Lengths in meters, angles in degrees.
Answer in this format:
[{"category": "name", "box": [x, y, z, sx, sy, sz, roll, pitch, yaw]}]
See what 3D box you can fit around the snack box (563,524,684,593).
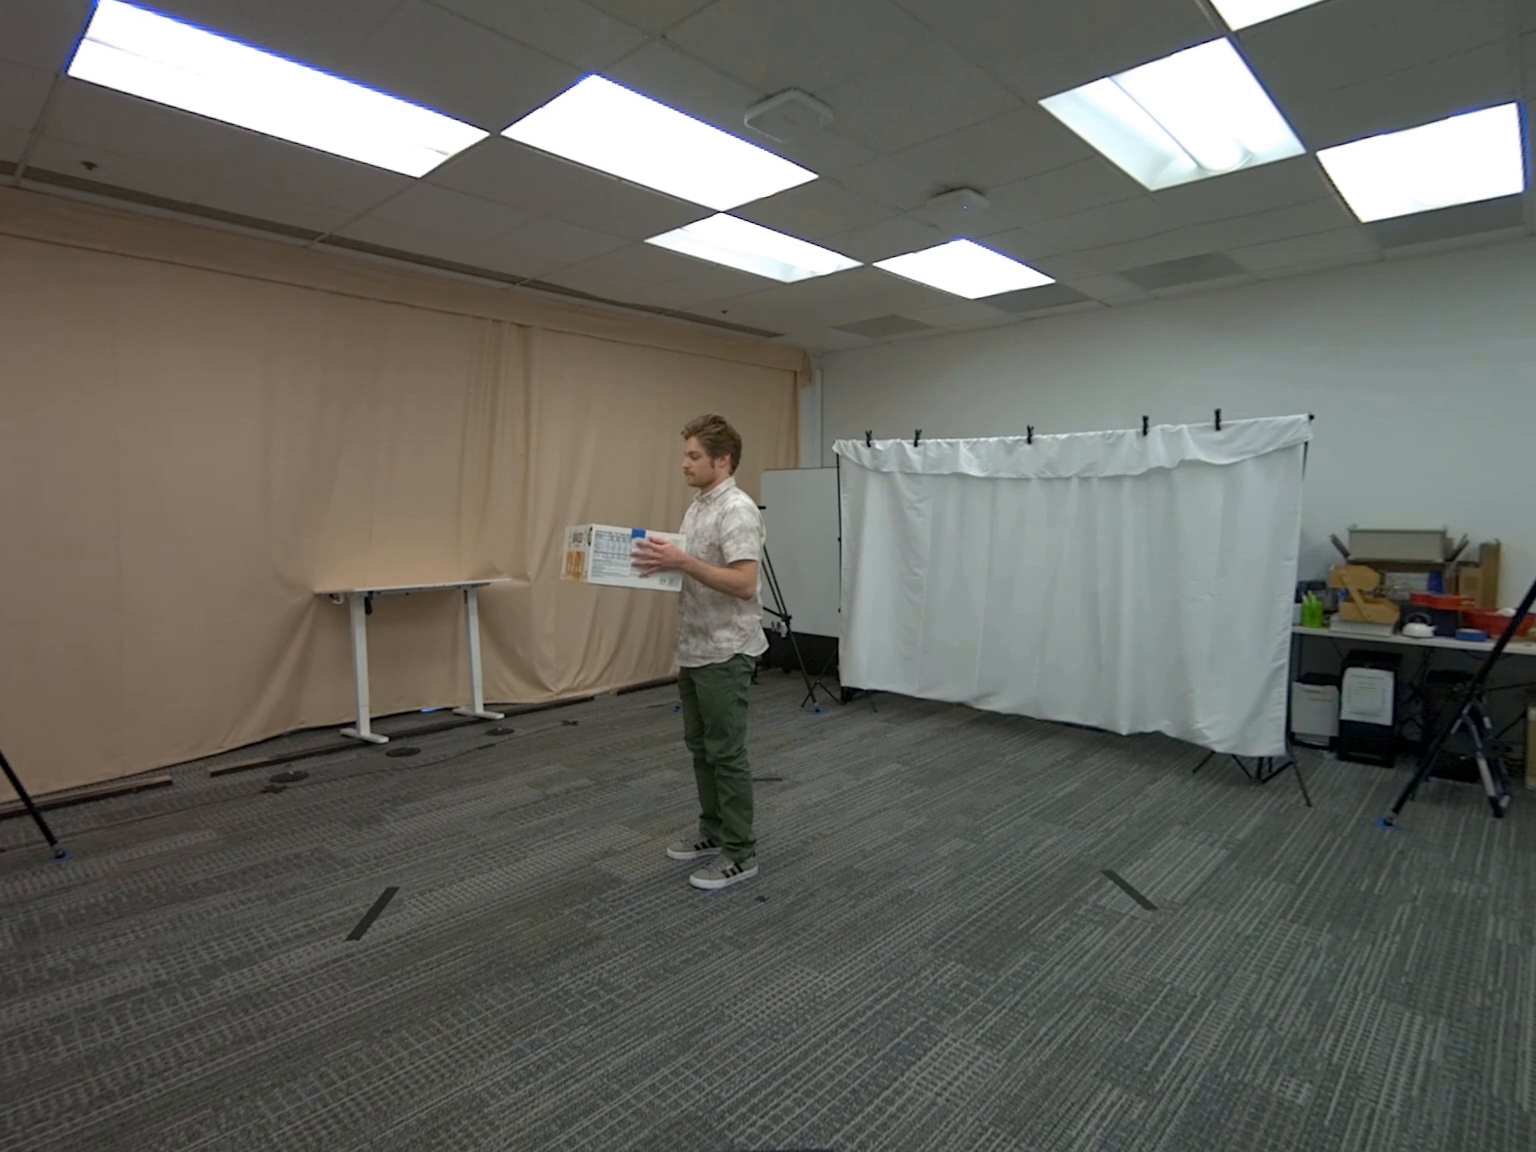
[{"category": "snack box", "box": [-0.530, -0.065, 3.069, 0.332, 0.206, 0.415, 6, -1, -25]}]
